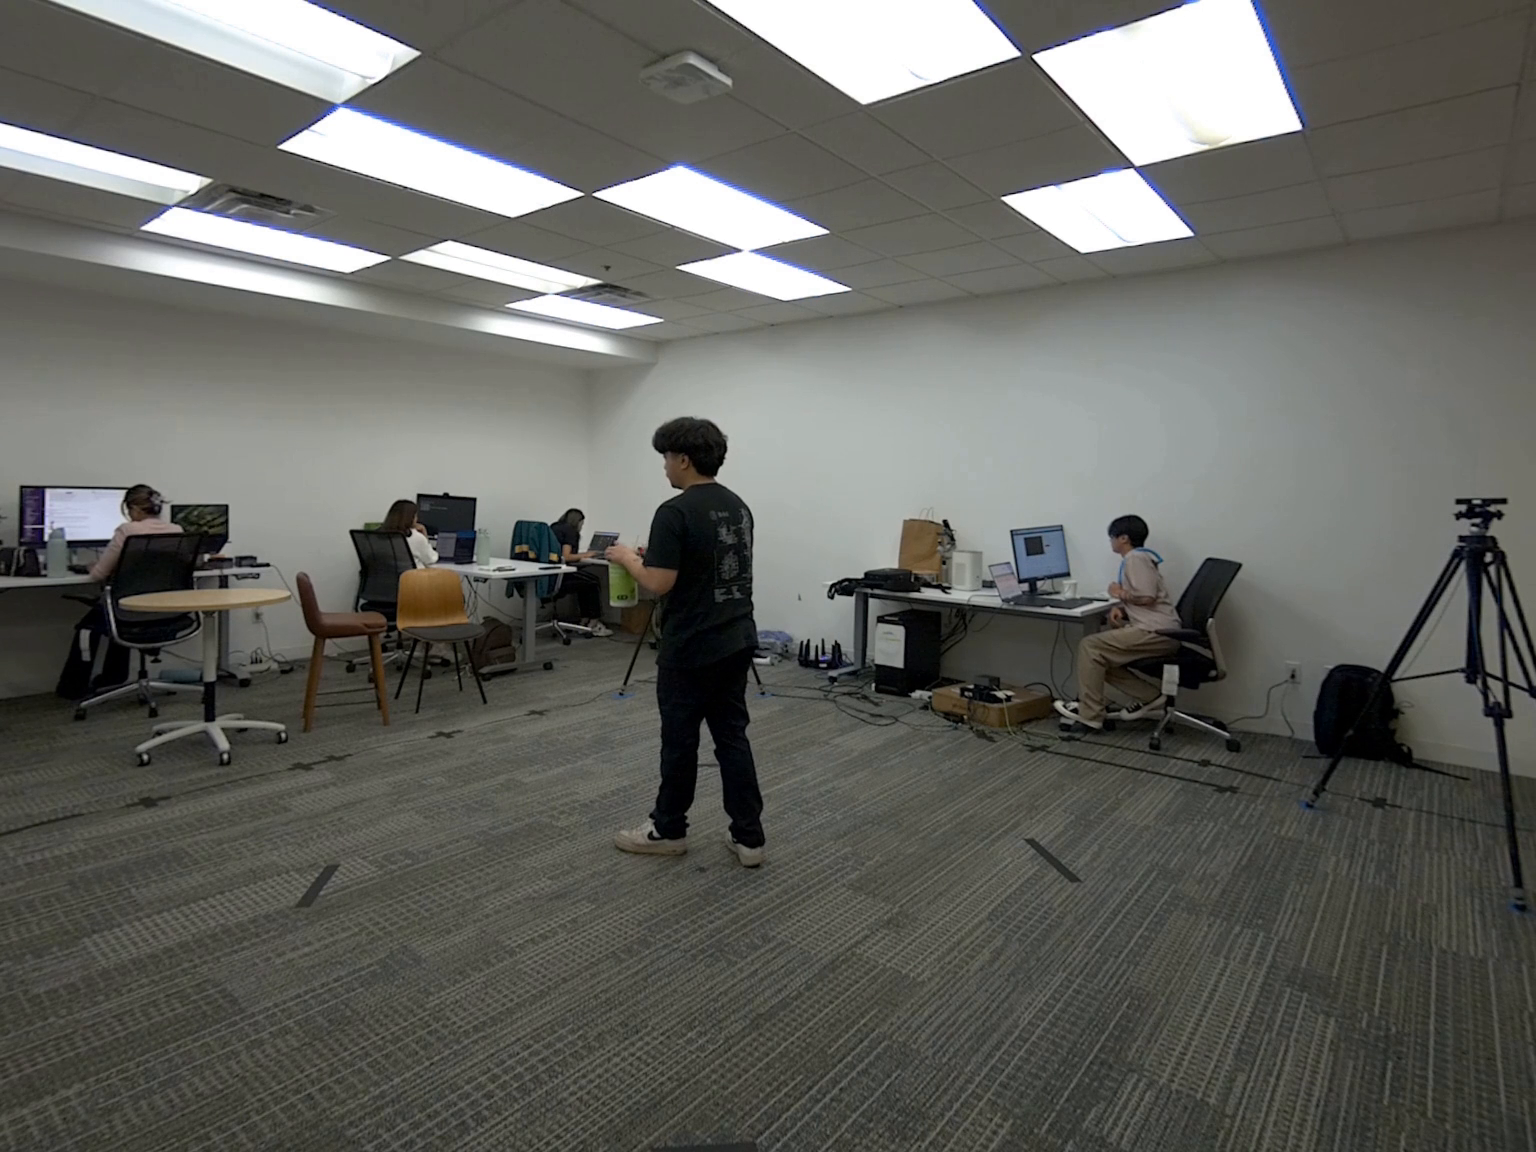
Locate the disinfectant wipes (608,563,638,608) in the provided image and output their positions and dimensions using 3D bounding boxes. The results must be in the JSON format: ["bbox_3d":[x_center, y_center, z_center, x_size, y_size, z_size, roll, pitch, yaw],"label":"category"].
[{"bbox_3d":[-0.584,0.009,3.350,0.118,0.216,0.119,-2,7,-2],"label":"disinfectant wipes"}]
